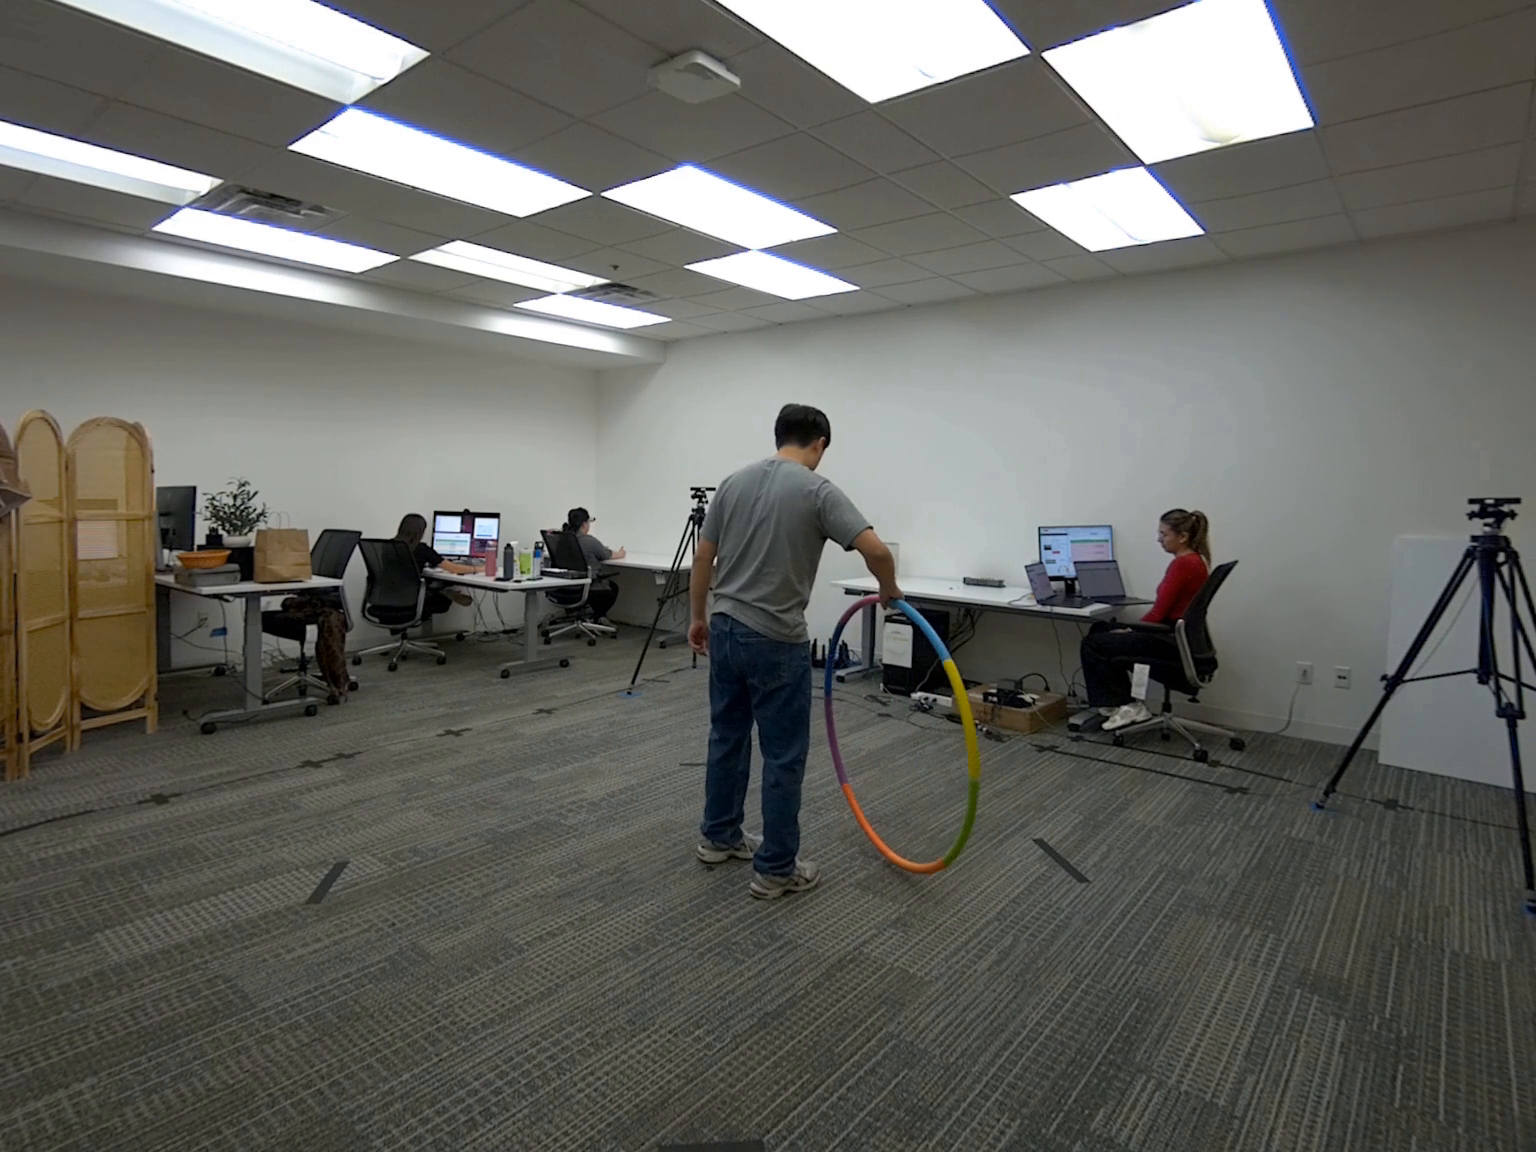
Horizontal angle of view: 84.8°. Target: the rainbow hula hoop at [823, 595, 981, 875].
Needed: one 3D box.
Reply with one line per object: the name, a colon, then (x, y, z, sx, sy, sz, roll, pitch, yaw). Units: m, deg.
rainbow hula hoop: (0.436, 0.564, 3.100, 0.035, 0.974, 1.004, -5, 6, -24)
